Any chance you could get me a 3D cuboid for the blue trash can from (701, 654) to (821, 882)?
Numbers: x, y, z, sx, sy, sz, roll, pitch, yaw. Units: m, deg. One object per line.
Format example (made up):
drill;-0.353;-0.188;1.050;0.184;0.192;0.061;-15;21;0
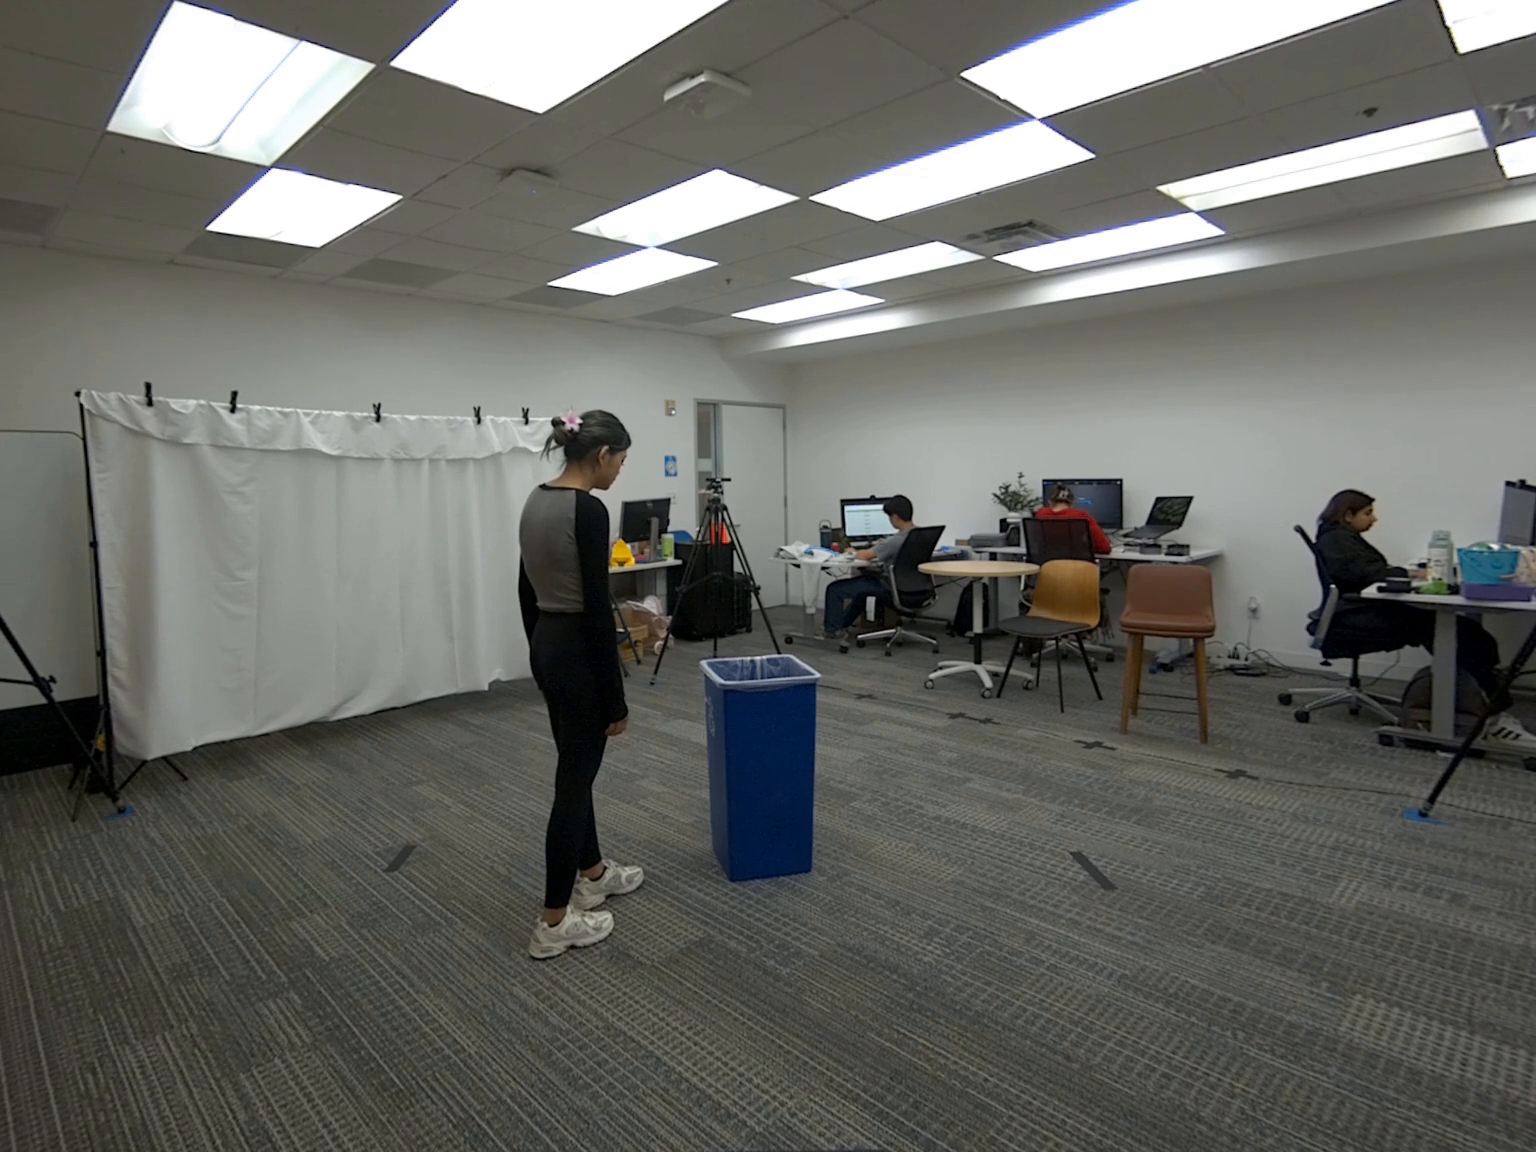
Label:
blue trash can;-0.036;0.685;3.104;0.369;0.711;0.385;-2;5;-16
